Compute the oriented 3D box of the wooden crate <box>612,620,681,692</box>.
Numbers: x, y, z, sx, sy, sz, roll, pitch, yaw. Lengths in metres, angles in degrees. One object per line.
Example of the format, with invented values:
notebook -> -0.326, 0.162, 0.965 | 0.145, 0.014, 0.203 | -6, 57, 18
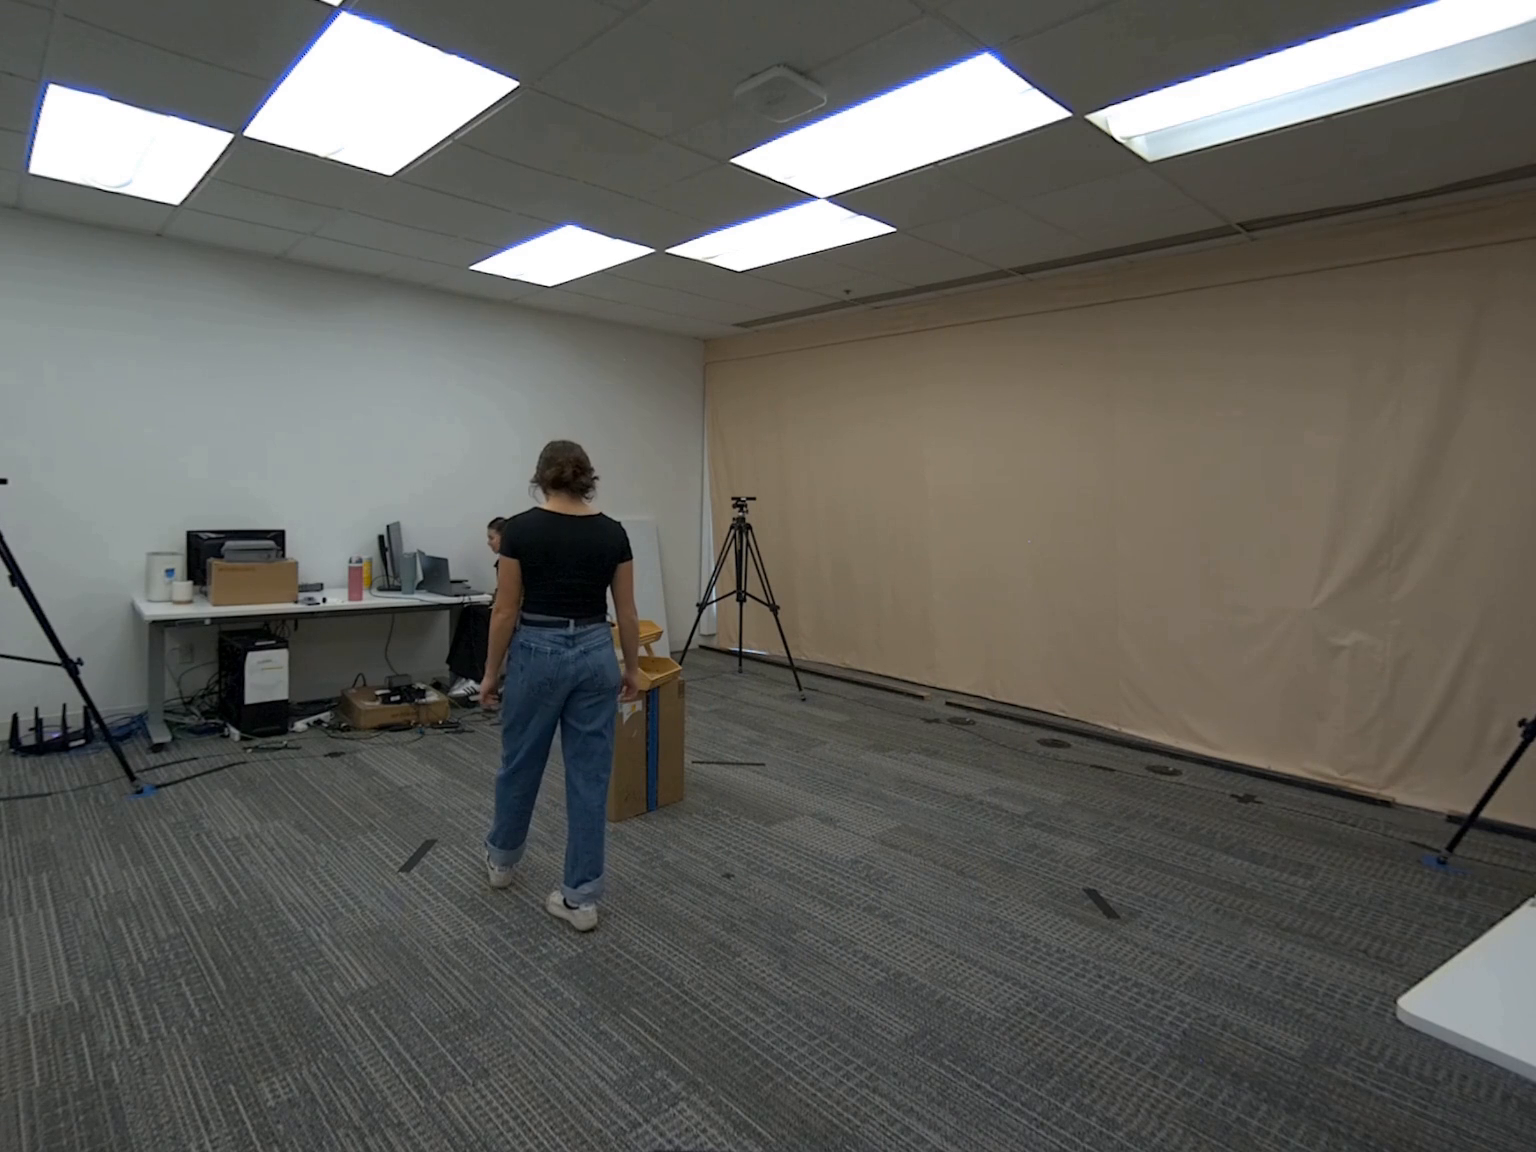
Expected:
wooden crate -> -0.574, 0.338, 3.759 | 0.307, 0.273, 0.320 | 0, 3, 21
